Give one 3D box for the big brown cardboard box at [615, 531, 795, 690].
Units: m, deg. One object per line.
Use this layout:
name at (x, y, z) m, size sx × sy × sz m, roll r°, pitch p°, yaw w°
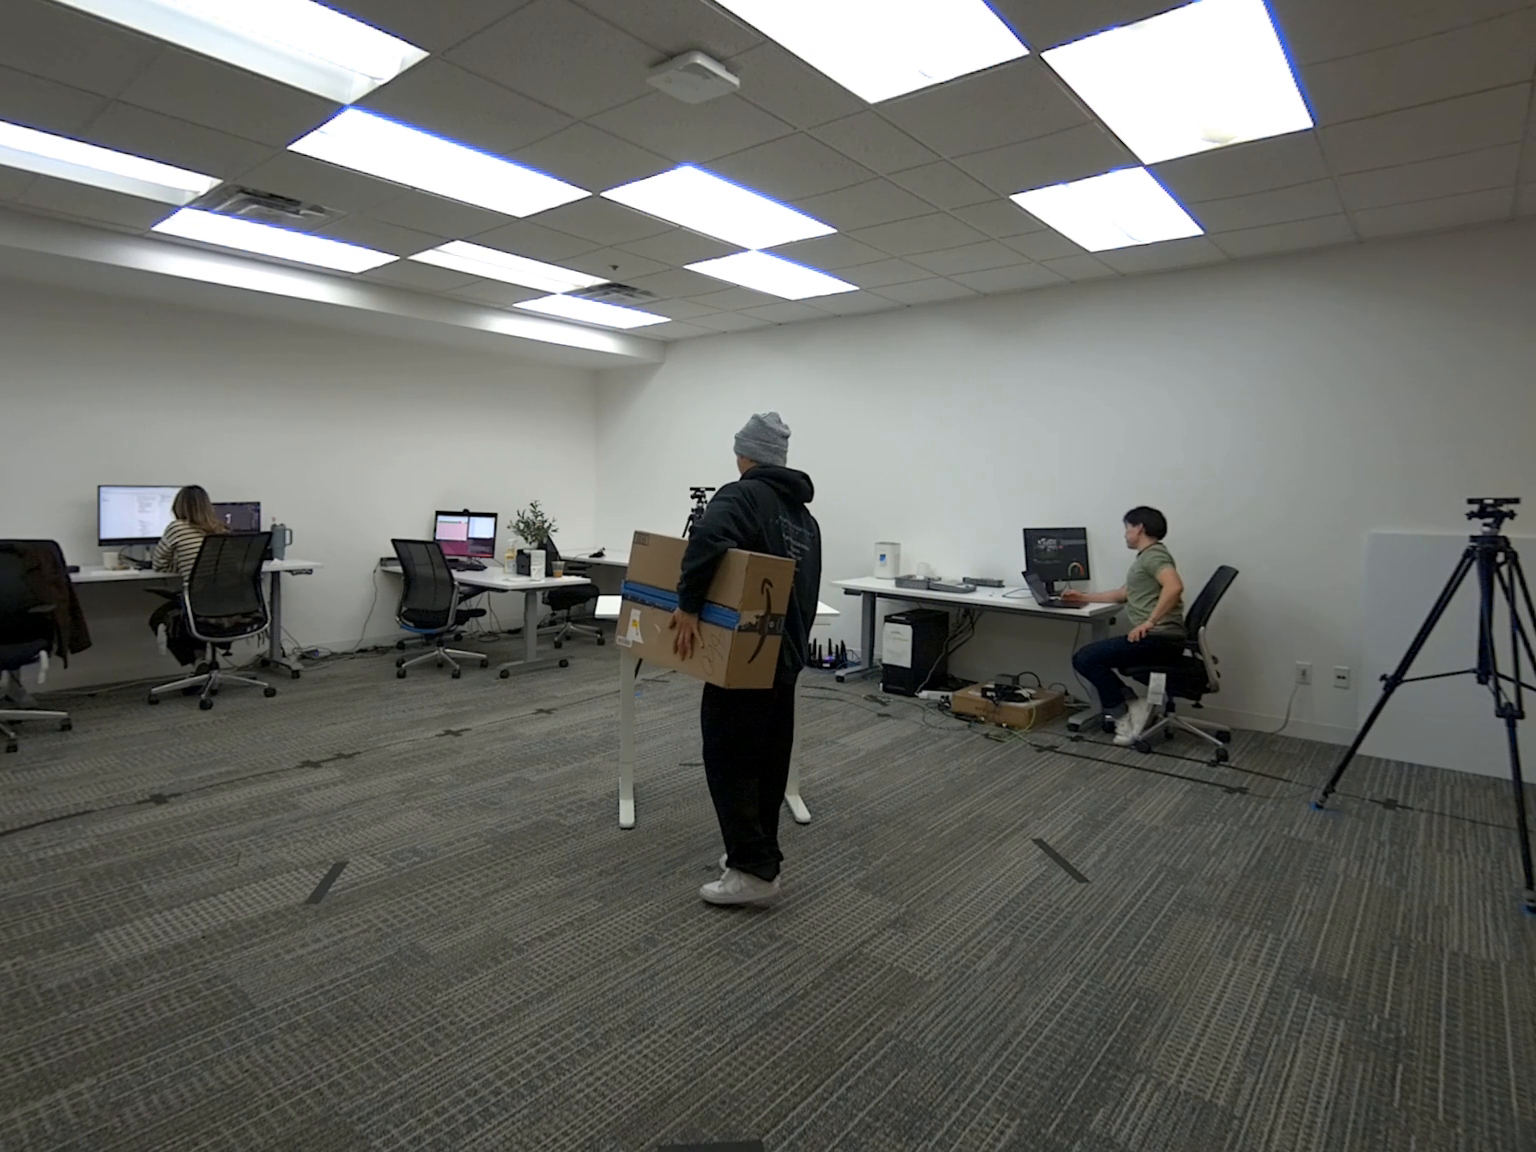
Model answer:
big brown cardboard box at (-0.237, 0.100, 2.814) m, size 0.611 × 0.417 × 0.225 m, roll 11°, pitch 2°, yaw 44°
